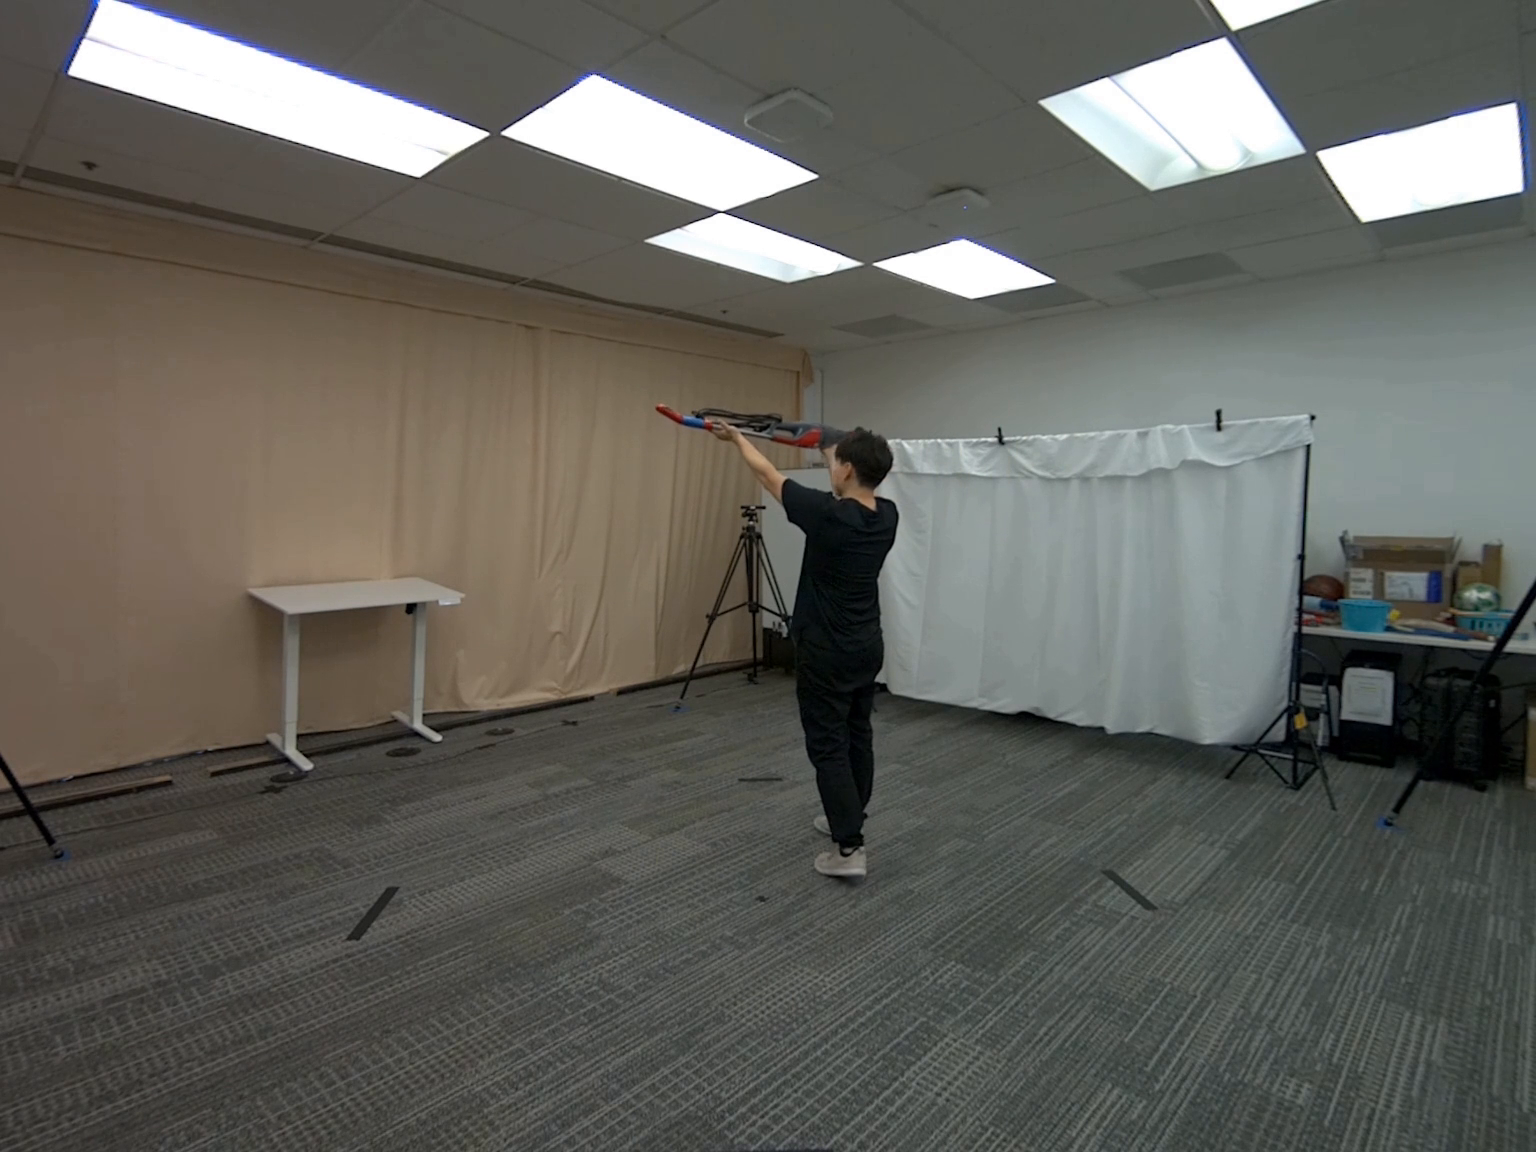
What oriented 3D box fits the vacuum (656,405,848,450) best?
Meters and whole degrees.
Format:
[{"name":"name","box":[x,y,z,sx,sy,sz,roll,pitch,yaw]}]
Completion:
[{"name":"vacuum","box":[0.007,-0.616,3.537,1.018,0.146,0.256,6,-26,-33]}]
